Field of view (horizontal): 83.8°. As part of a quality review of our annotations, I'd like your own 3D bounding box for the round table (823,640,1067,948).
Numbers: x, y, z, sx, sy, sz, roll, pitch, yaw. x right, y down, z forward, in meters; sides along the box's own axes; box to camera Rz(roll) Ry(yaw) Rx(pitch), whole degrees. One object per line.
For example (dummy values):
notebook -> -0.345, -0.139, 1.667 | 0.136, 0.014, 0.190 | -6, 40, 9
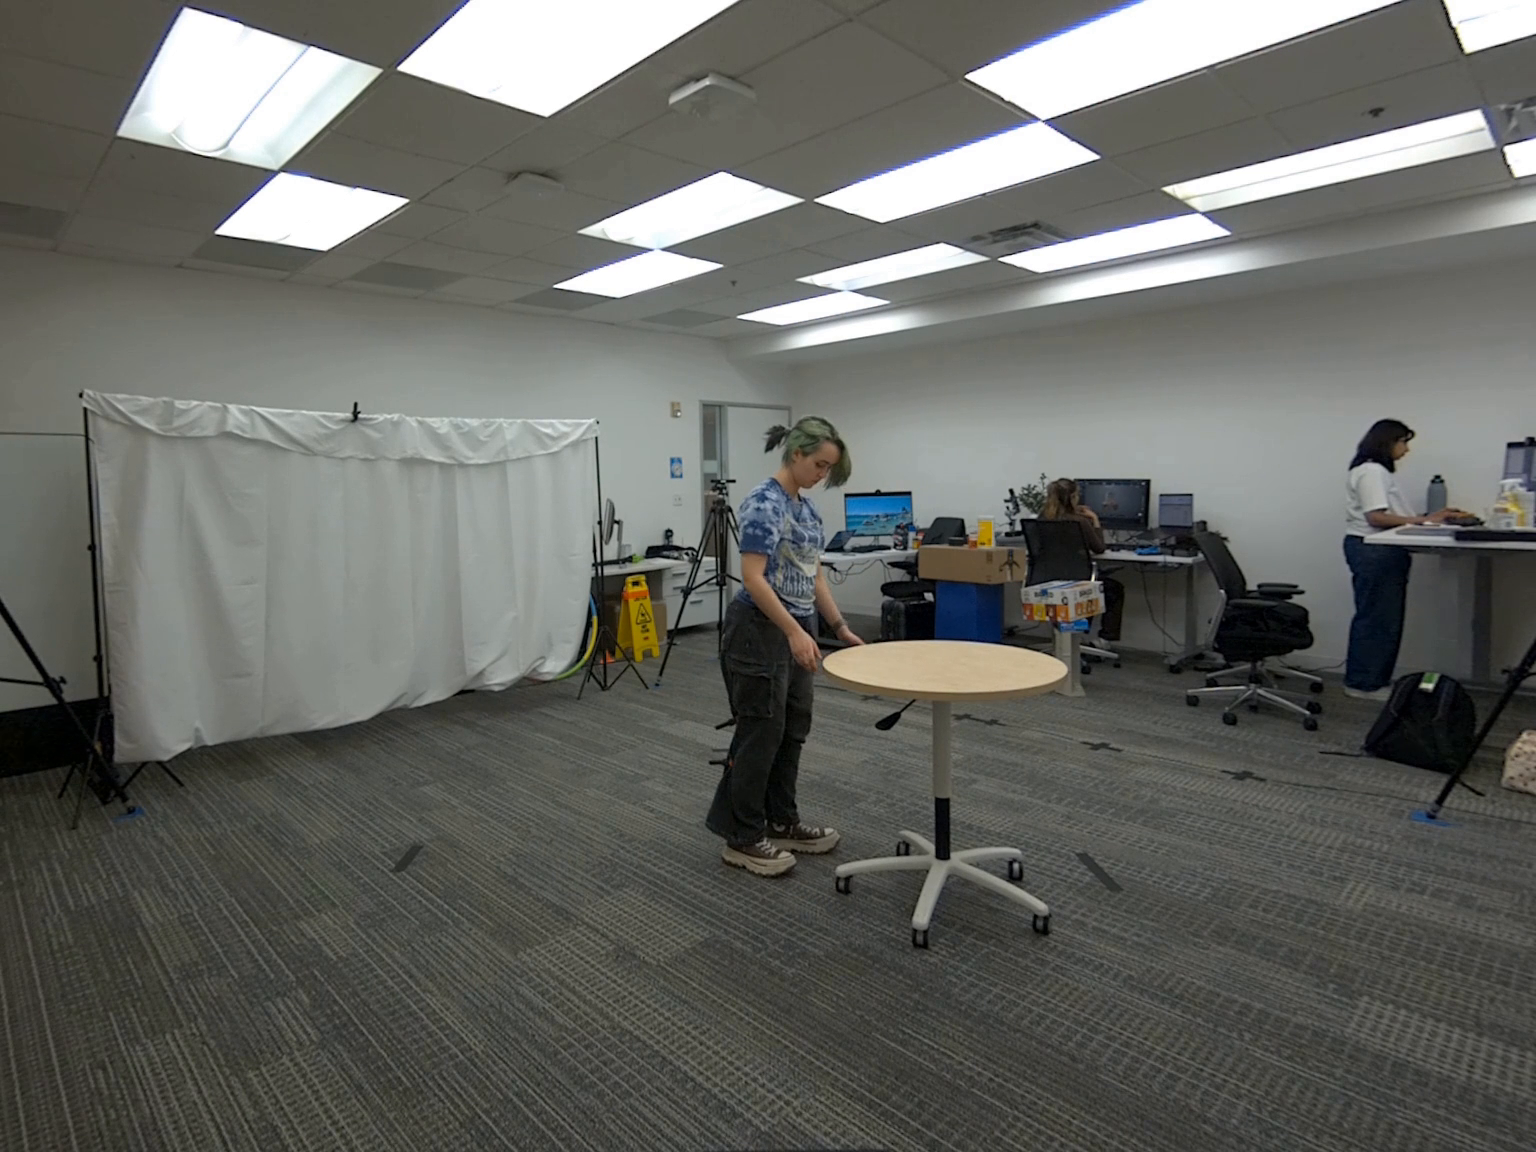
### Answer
round table -> 0.577, 0.682, 2.789 | 0.763, 0.790, 0.768 | -1, 5, -2
